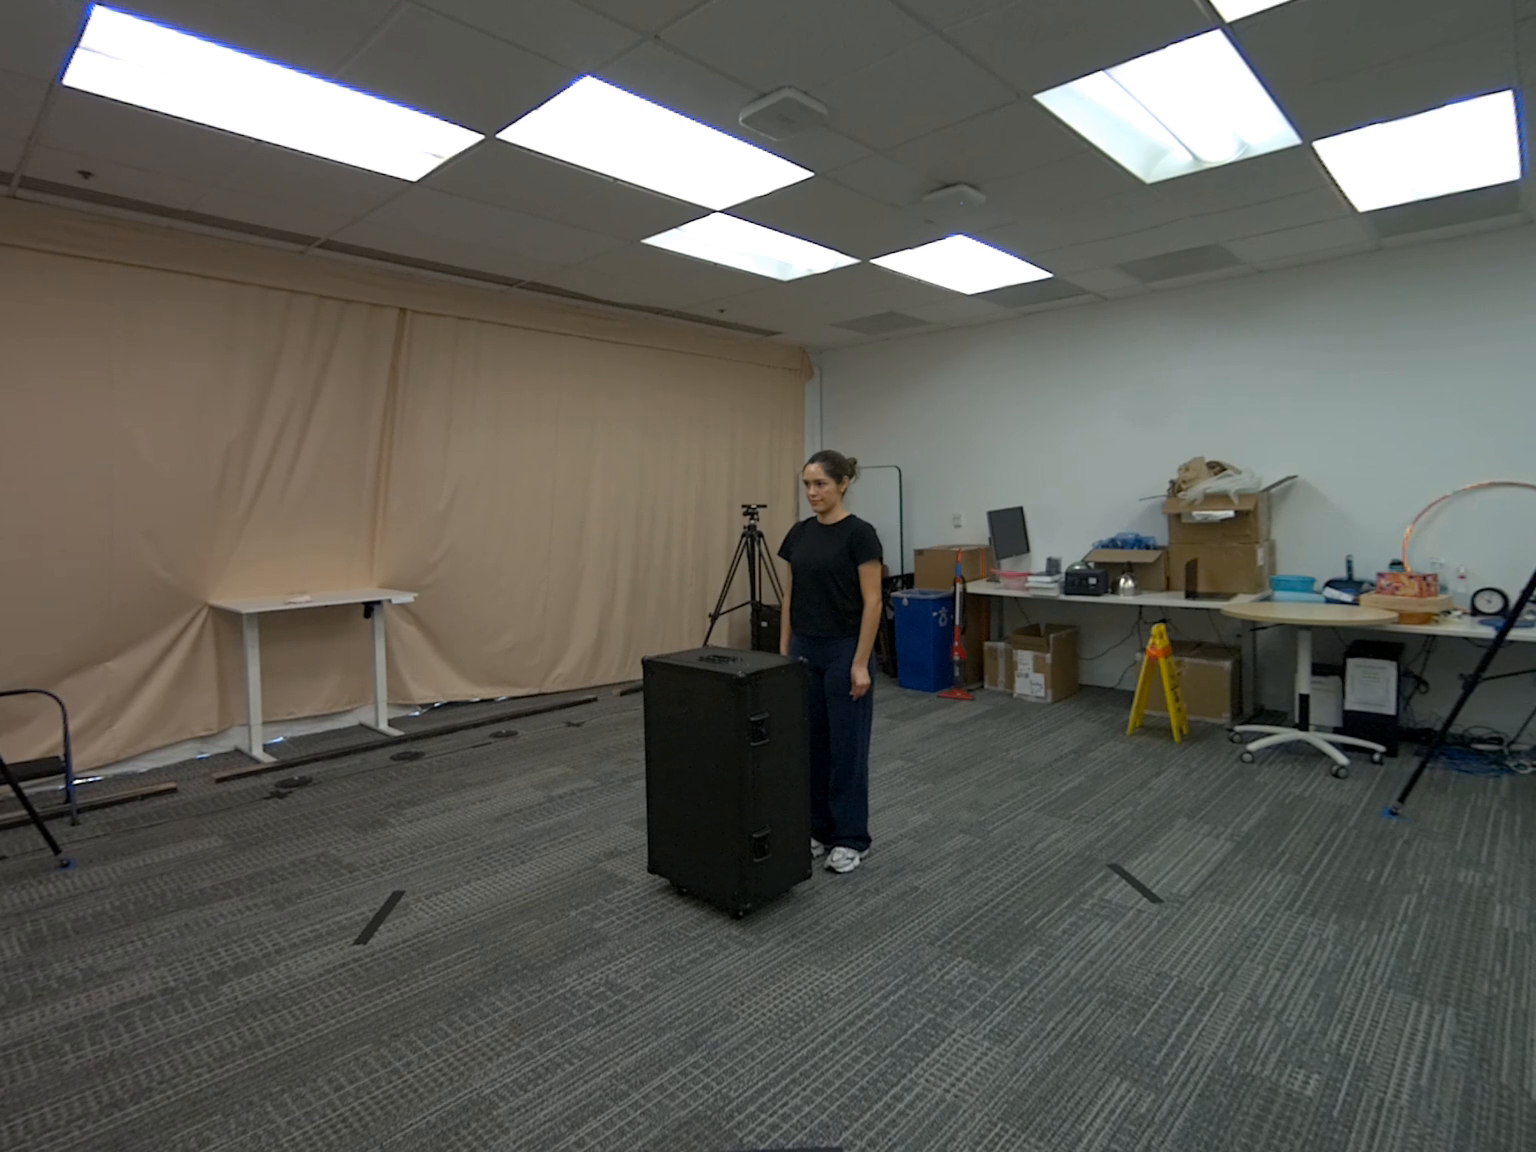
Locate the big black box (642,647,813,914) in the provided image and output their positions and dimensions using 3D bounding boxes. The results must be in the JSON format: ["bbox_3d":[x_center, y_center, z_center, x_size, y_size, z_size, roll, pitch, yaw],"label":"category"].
[{"bbox_3d":[-0.126,0.659,3.000,0.538,0.859,0.384,2,5,42],"label":"big black box"}]
